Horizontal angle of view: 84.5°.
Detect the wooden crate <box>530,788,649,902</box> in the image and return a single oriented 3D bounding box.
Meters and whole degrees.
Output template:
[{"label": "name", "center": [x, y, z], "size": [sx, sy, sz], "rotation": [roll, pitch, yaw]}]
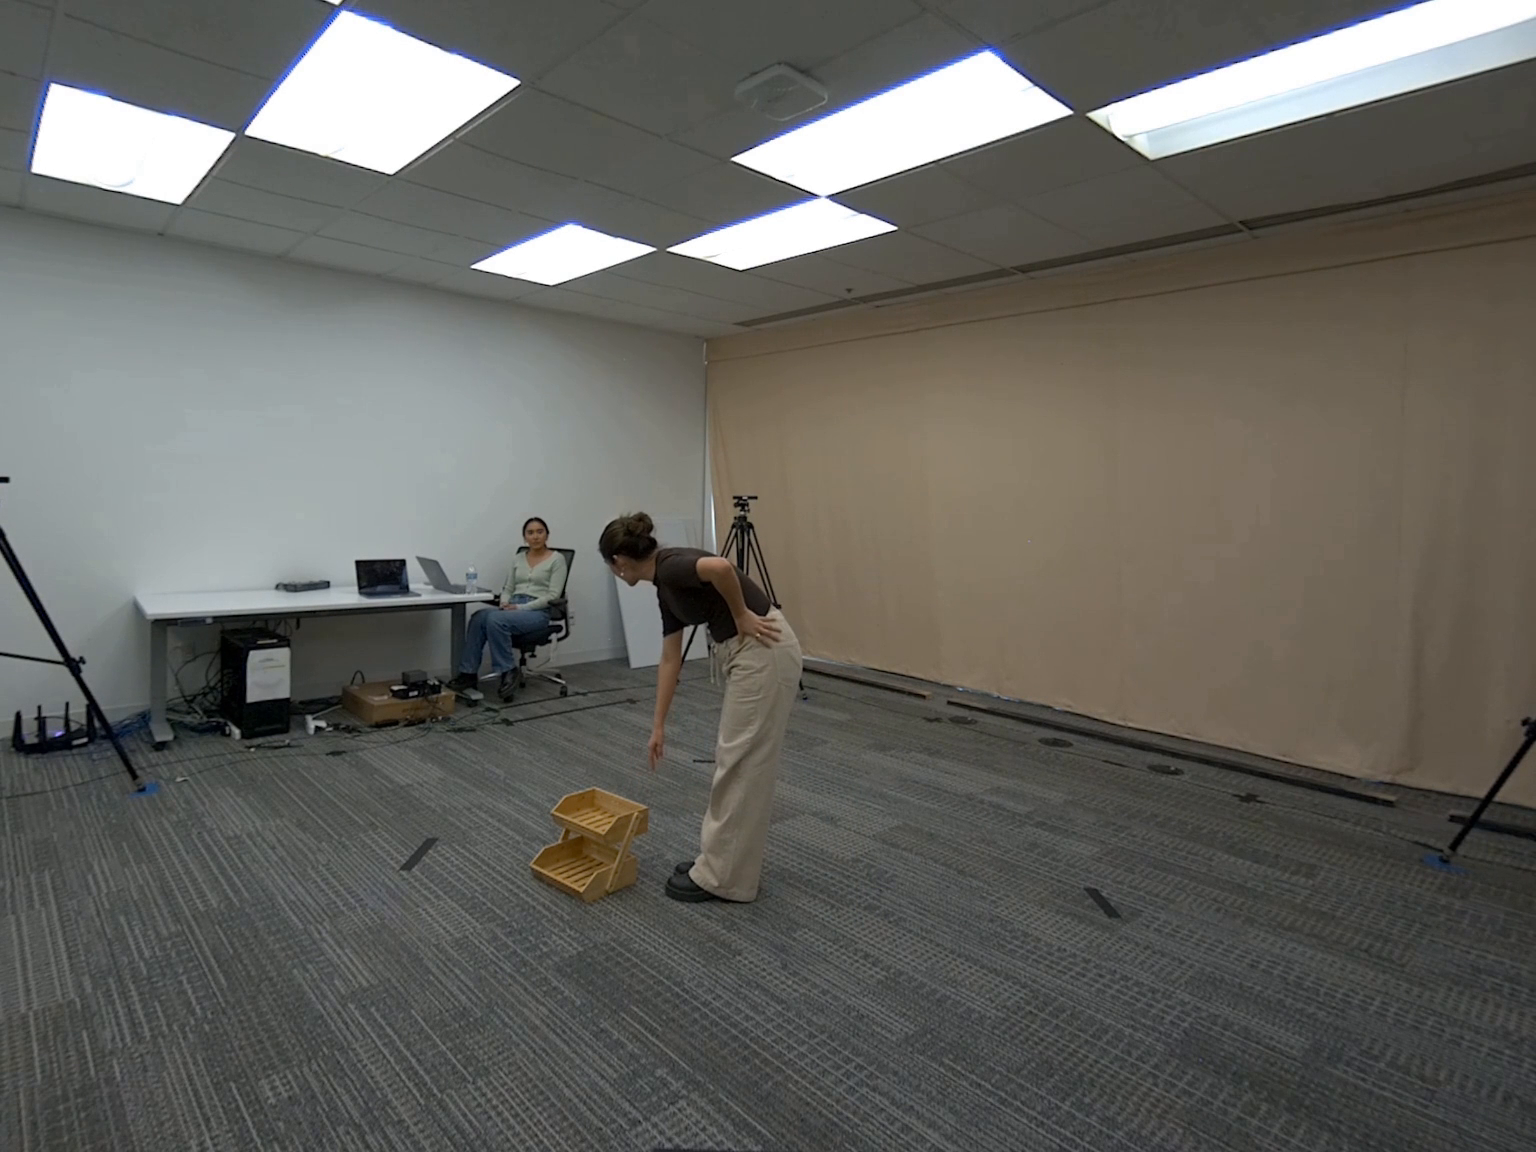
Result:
[{"label": "wooden crate", "center": [-0.650, 0.957, 3.049], "size": [0.333, 0.273, 0.295], "rotation": [5, 5, 40]}]
